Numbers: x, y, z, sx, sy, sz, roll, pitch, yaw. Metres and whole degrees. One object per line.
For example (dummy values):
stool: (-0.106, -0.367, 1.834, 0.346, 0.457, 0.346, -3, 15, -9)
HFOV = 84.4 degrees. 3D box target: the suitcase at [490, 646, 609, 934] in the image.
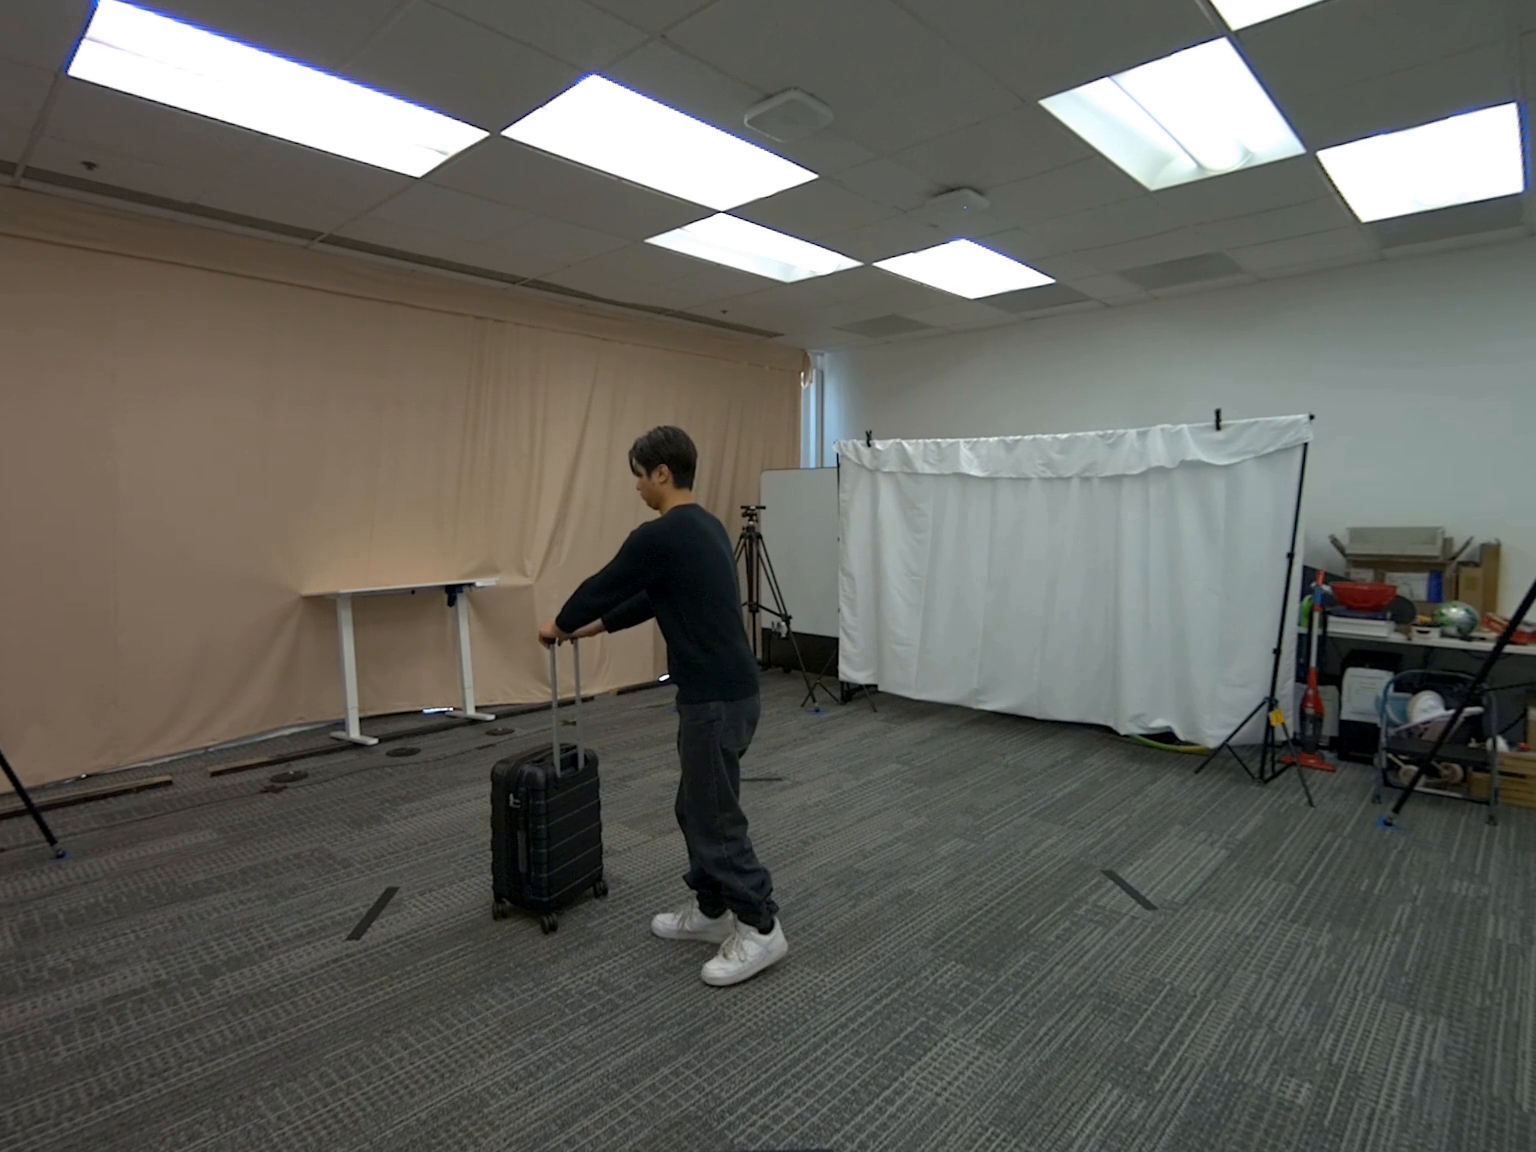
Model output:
suitcase: (-0.786, 0.677, 2.948, 0.264, 0.978, 0.374, -1, 0, 26)
